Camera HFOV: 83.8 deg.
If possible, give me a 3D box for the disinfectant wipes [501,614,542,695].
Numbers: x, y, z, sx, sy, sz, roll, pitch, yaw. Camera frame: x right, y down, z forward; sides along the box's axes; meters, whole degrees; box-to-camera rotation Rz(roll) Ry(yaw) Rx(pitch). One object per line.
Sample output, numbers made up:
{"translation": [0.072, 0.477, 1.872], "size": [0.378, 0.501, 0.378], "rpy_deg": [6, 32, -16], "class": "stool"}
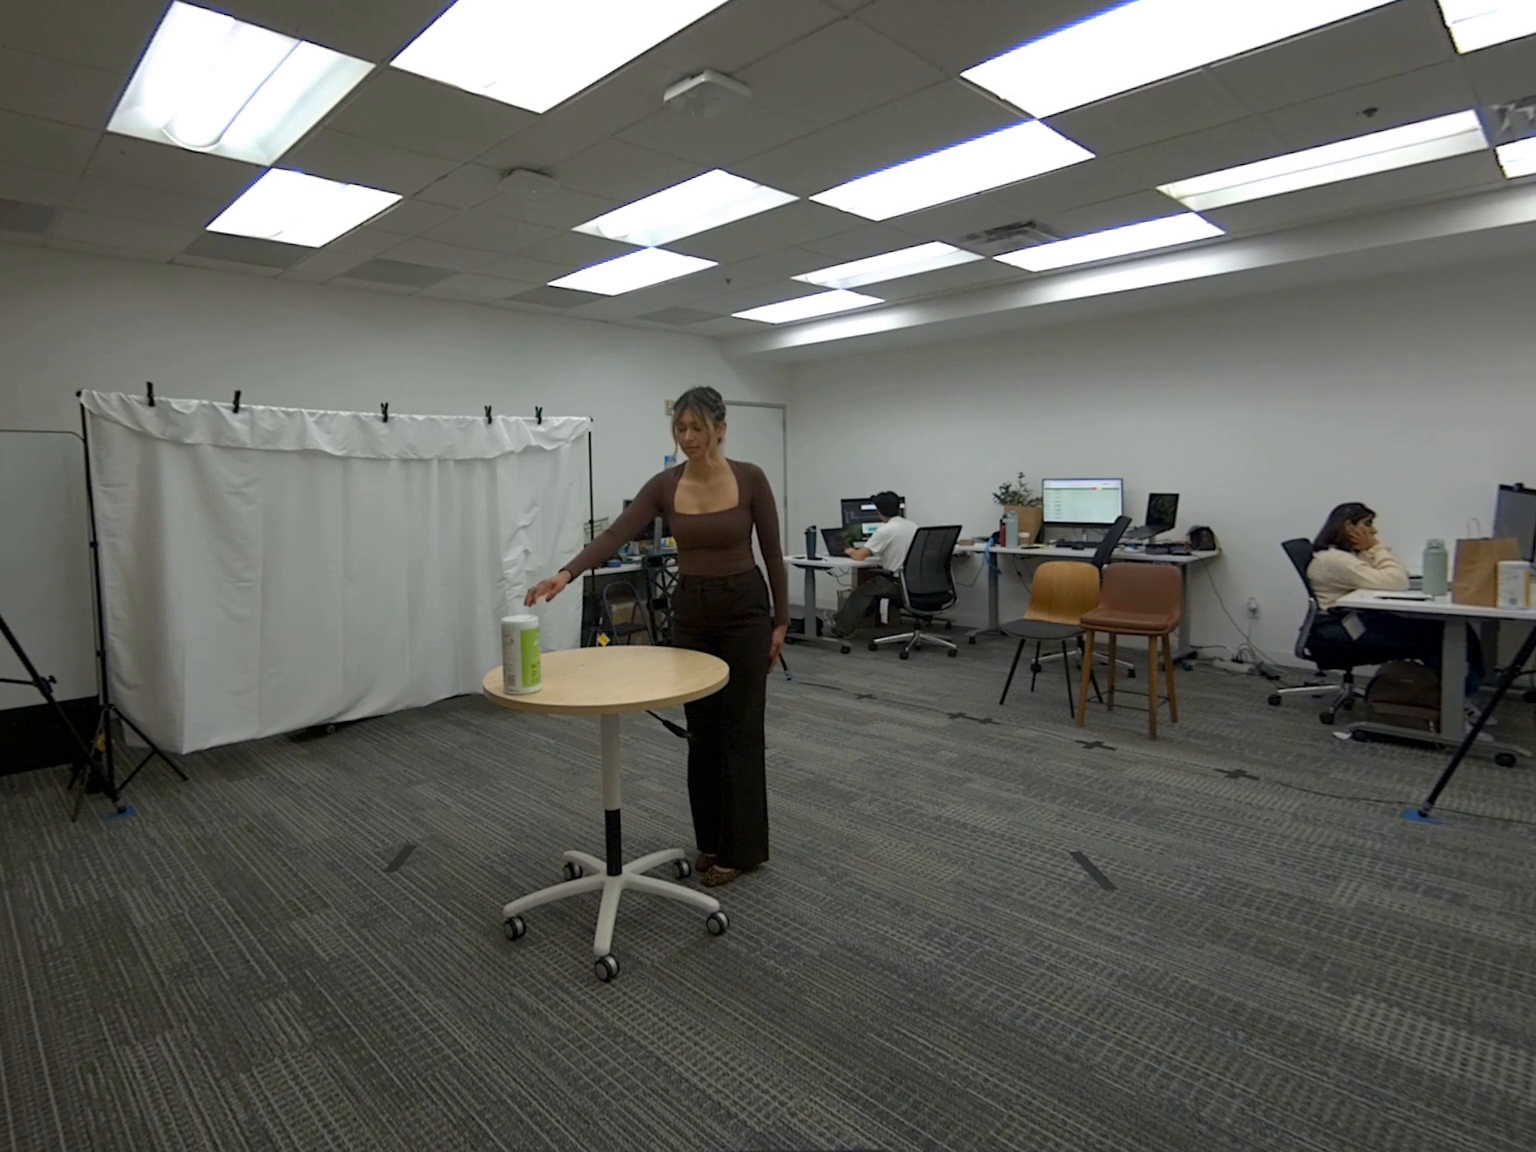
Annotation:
{"translation": [-0.716, 0.229, 2.474], "size": [0.118, 0.217, 0.118], "rpy_deg": [-1, 4, -2], "class": "disinfectant wipes"}
